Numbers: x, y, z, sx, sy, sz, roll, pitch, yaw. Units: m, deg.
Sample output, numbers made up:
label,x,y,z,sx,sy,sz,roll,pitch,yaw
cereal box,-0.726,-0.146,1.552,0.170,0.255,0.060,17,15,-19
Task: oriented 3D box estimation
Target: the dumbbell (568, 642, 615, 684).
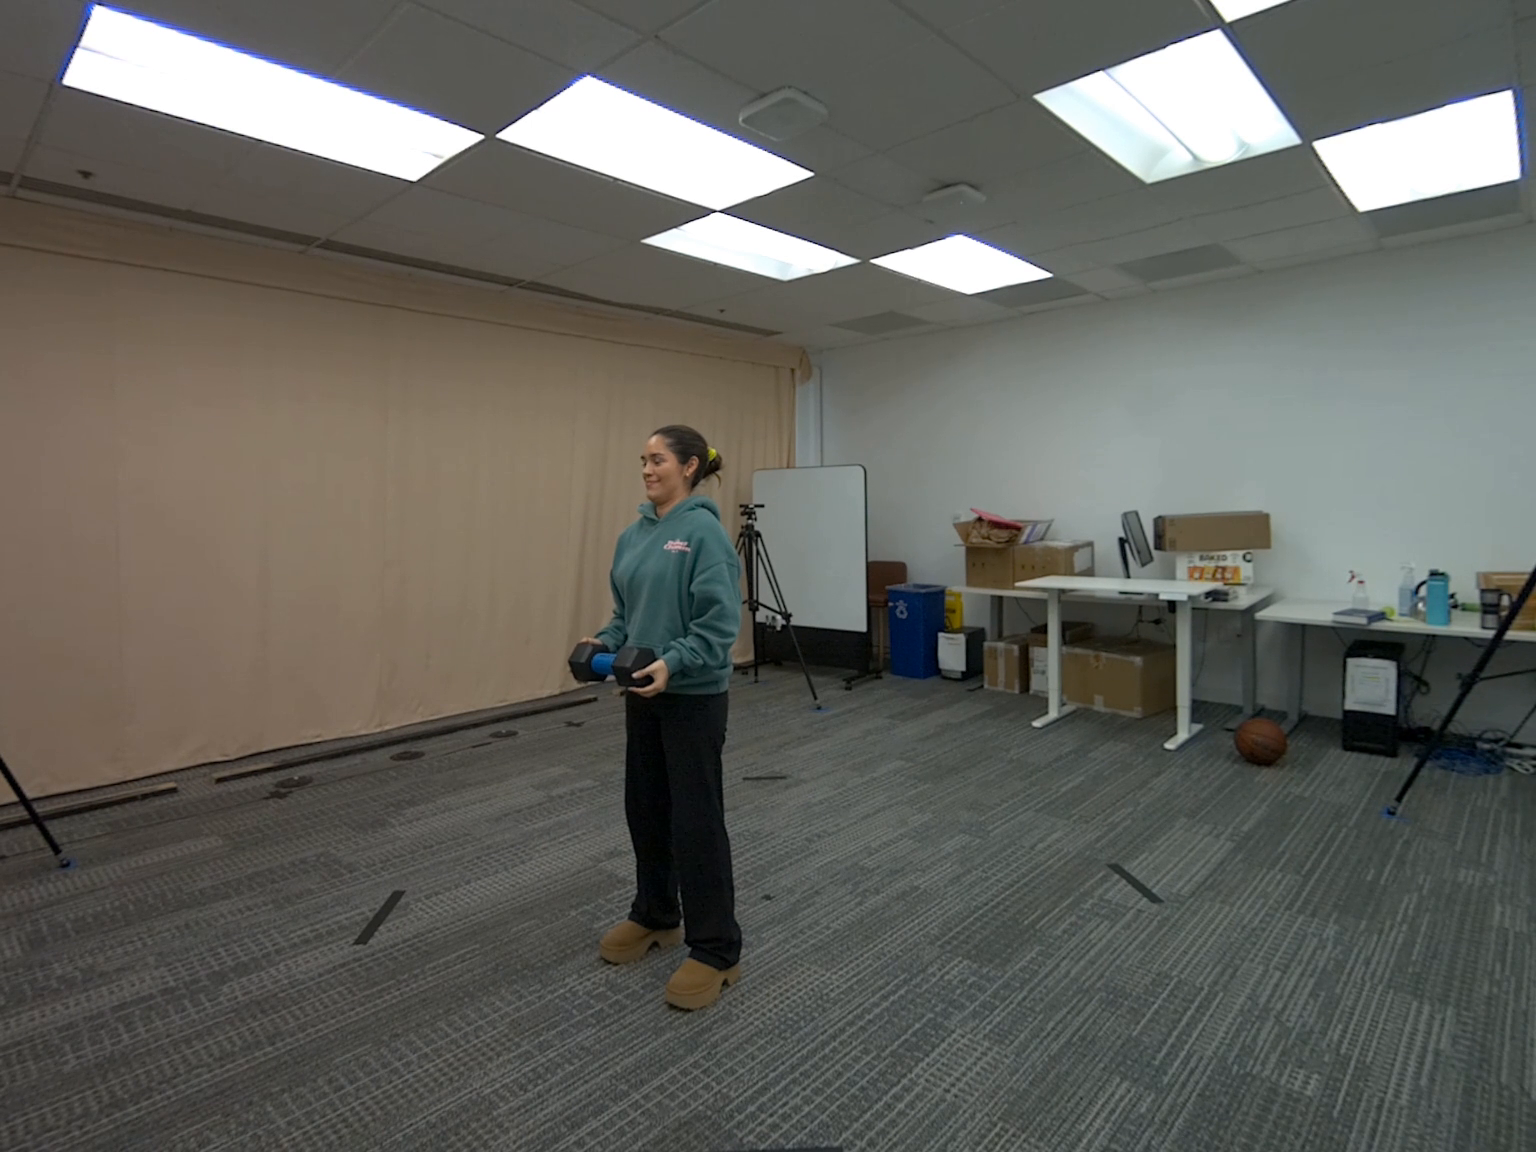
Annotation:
label,x,y,z,sx,sy,sz,roll,pitch,yaw
dumbbell,-0.425,0.249,2.345,0.303,0.123,0.105,-1,-36,45
